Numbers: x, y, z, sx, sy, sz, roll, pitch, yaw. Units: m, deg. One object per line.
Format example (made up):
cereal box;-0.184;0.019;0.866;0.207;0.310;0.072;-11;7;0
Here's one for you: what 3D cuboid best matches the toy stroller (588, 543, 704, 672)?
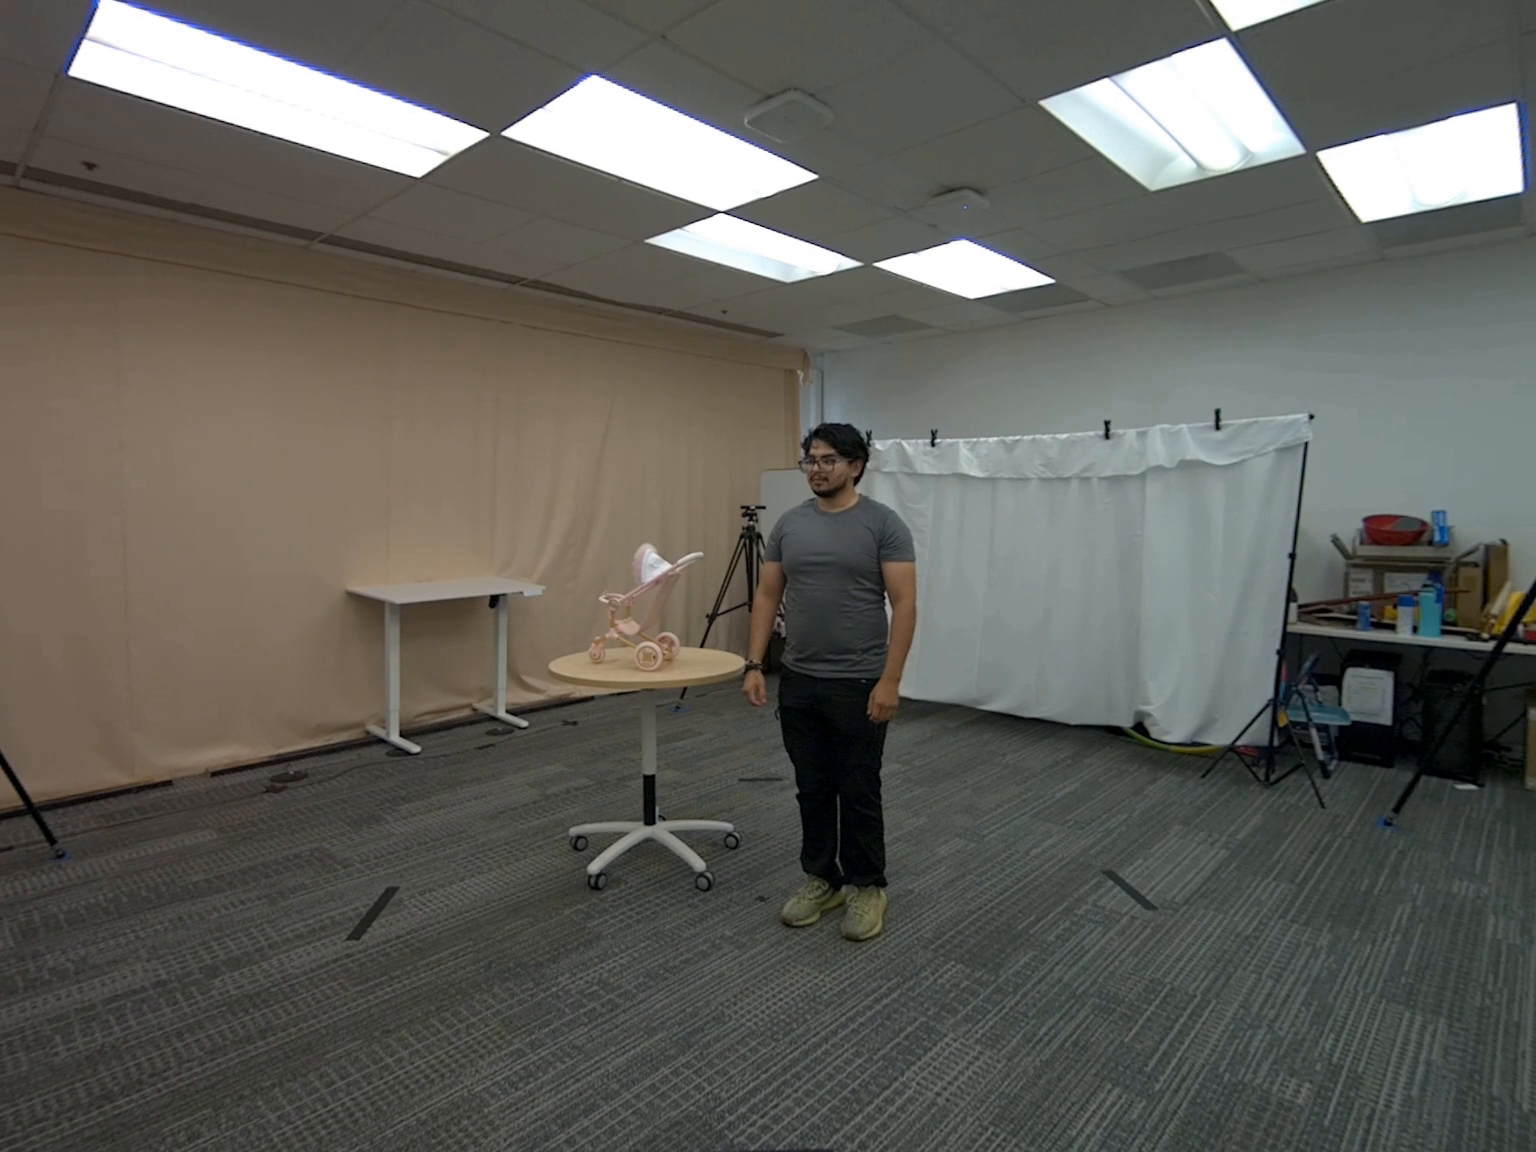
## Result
toy stroller;-0.489;0.120;3.236;0.347;0.533;0.277;17;7;14
